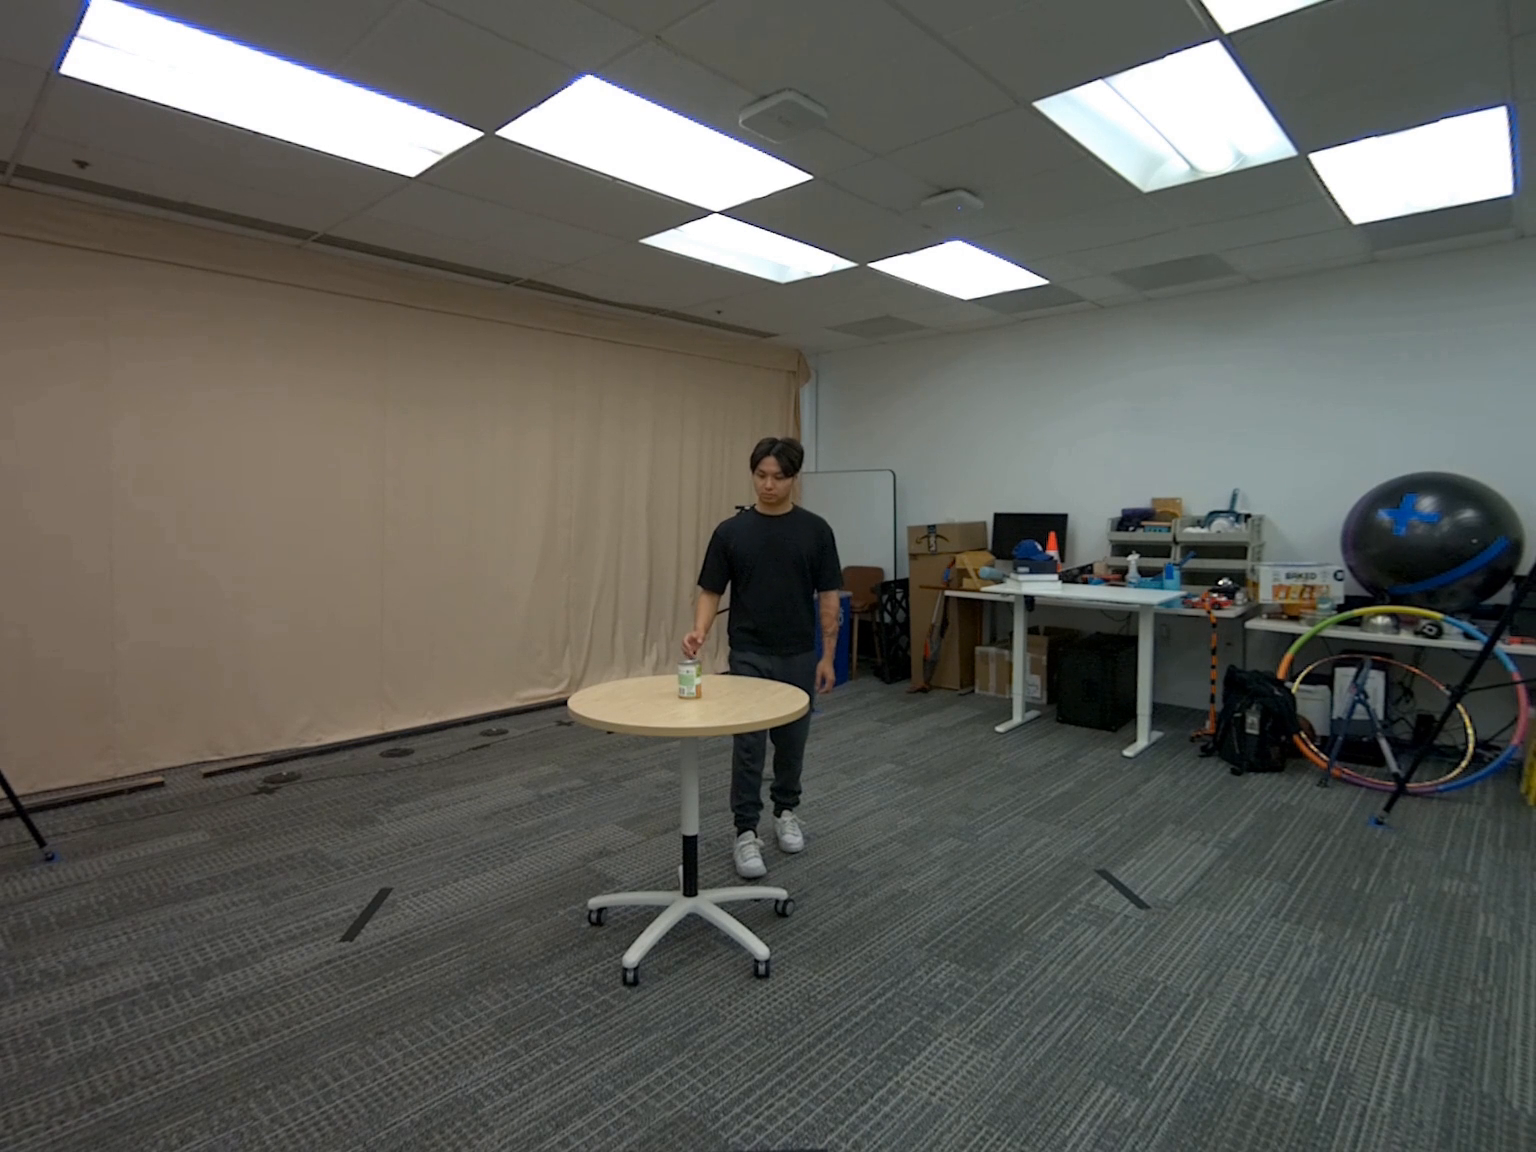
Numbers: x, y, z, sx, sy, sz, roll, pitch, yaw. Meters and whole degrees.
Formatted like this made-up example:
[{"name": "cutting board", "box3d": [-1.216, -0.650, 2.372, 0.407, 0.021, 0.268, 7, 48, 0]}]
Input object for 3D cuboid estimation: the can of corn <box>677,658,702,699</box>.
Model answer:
[{"name": "can of corn", "box3d": [-0.247, 0.329, 2.691, 0.074, 0.111, 0.074, 1, 3, -2]}]
